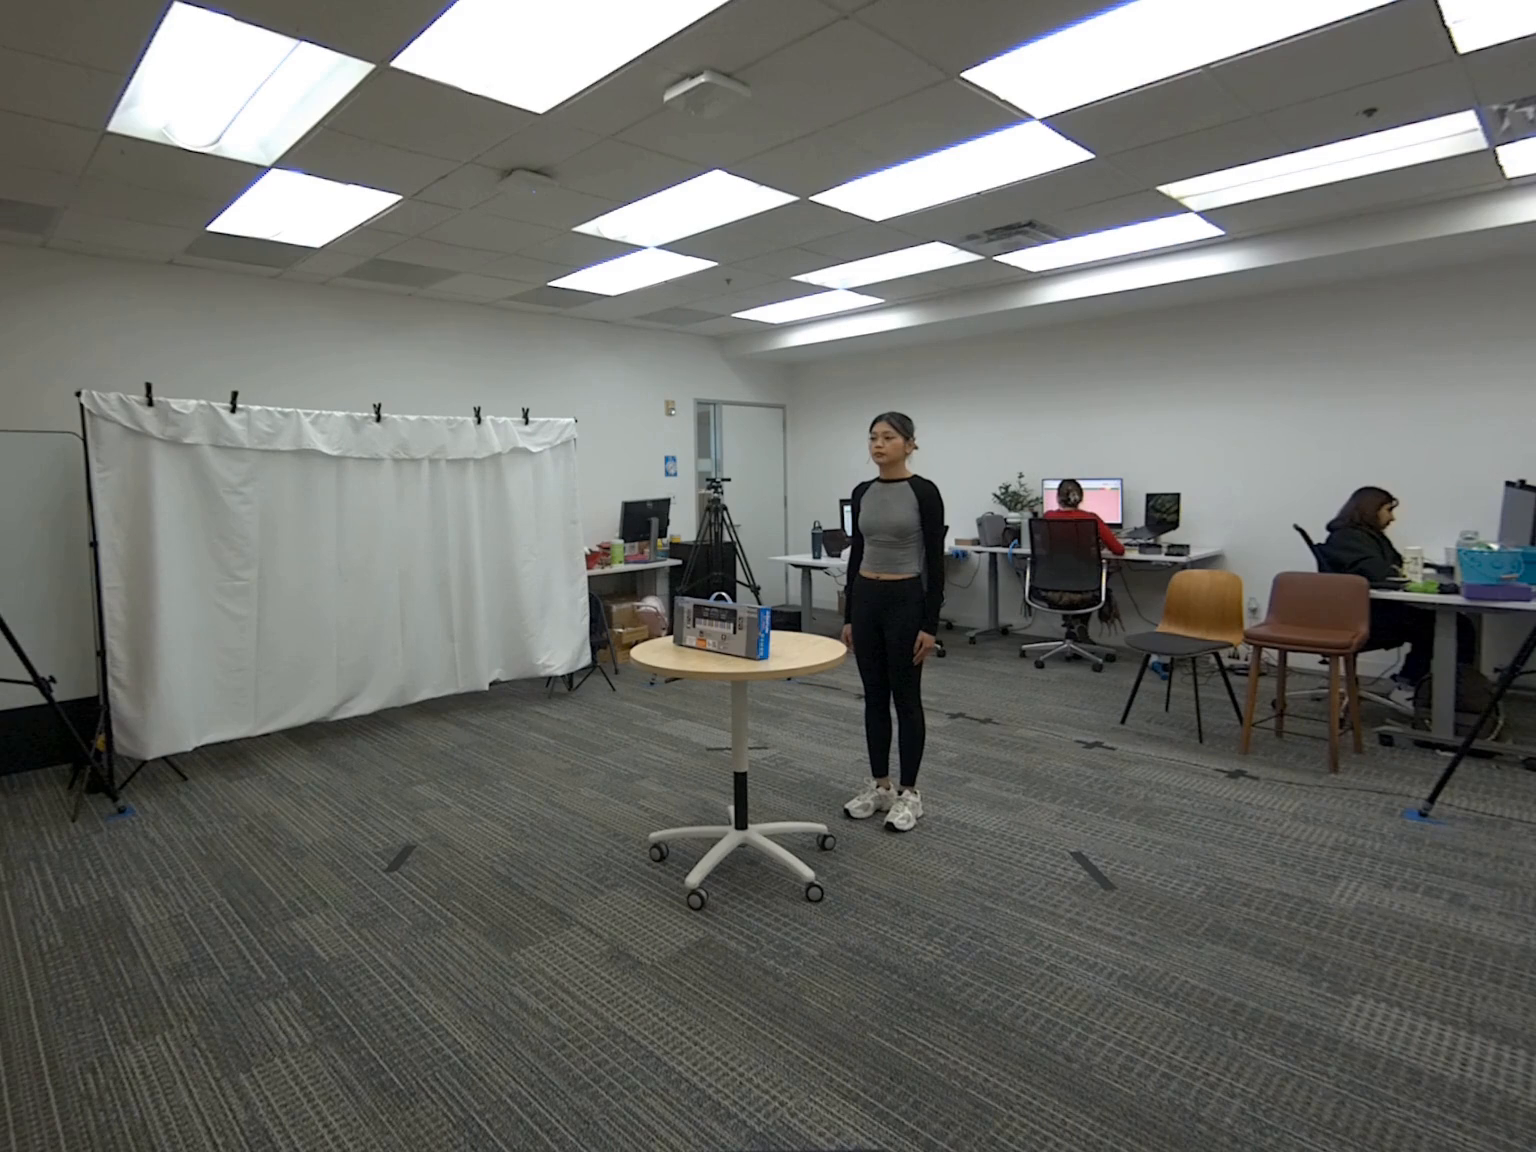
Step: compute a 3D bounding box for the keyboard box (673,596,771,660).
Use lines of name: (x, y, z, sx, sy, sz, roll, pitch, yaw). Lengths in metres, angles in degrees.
keyboard box: (-0.168, 0.178, 2.987, 0.057, 0.176, 0.450, 3, 2, -45)
